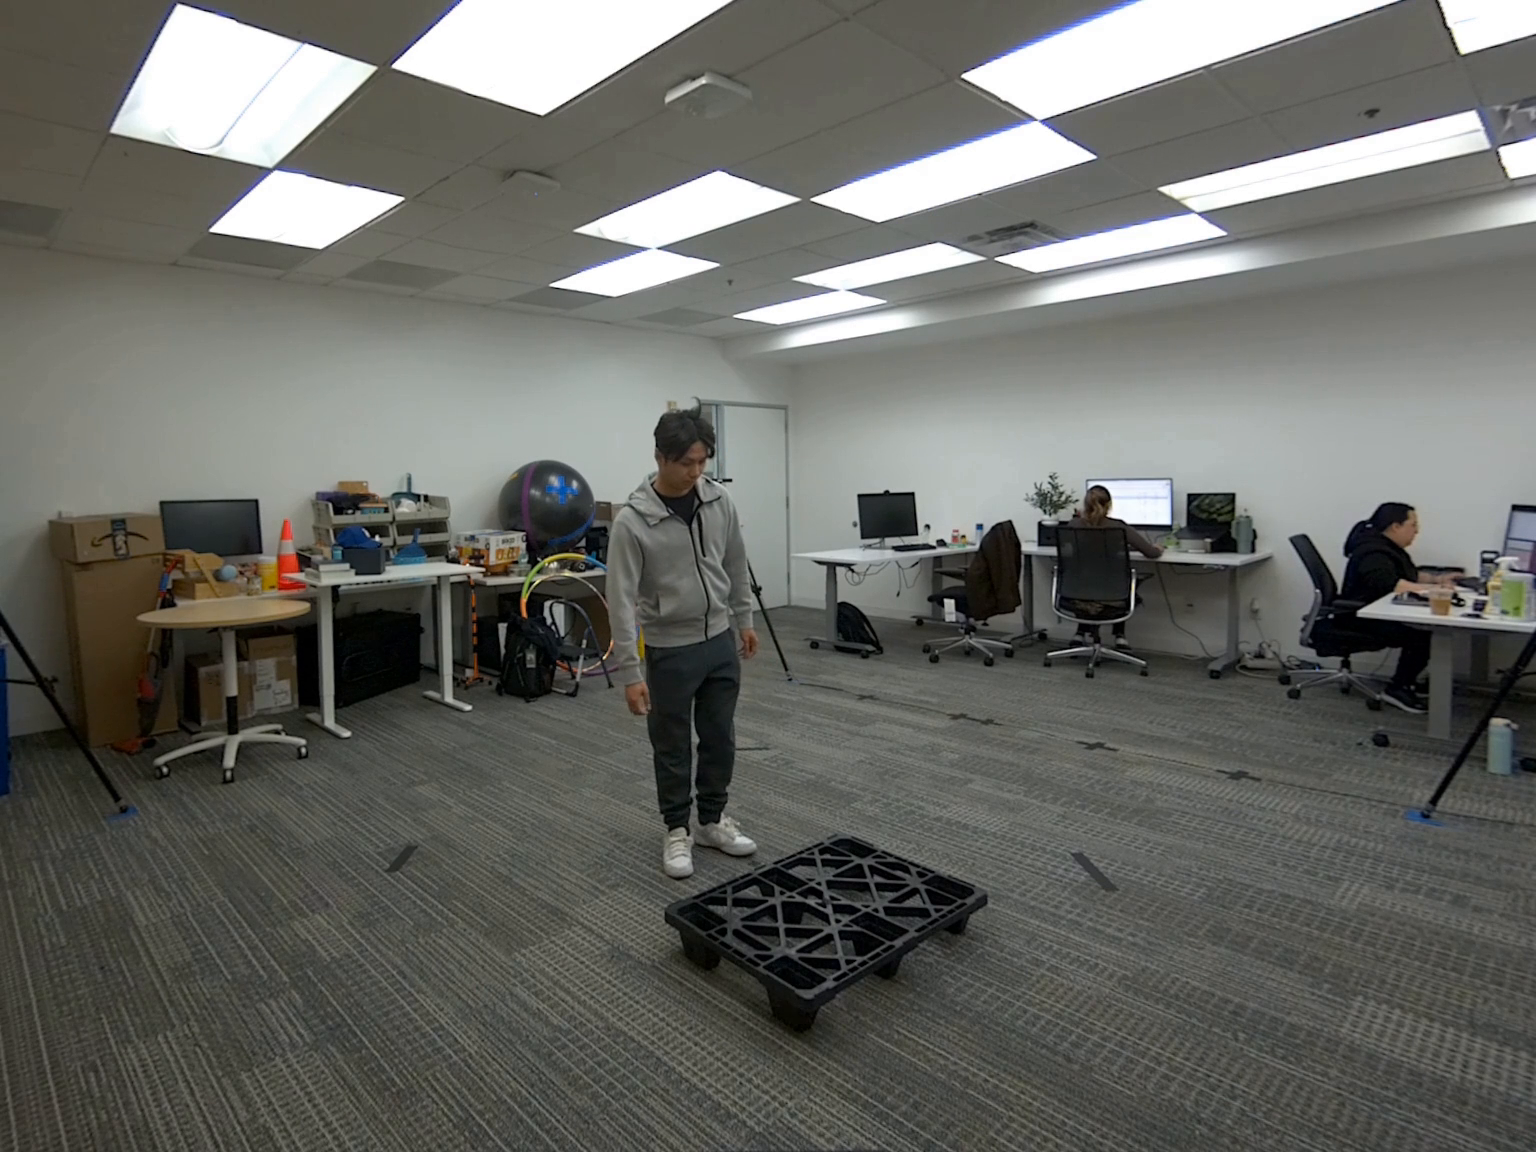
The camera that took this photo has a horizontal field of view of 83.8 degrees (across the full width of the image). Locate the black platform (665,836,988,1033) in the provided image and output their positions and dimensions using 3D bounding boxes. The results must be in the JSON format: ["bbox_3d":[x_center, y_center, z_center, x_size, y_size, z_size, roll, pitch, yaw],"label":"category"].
[{"bbox_3d":[0.177,1.037,2.562,0.785,0.142,0.624,-7,9,-42],"label":"black platform"}]
